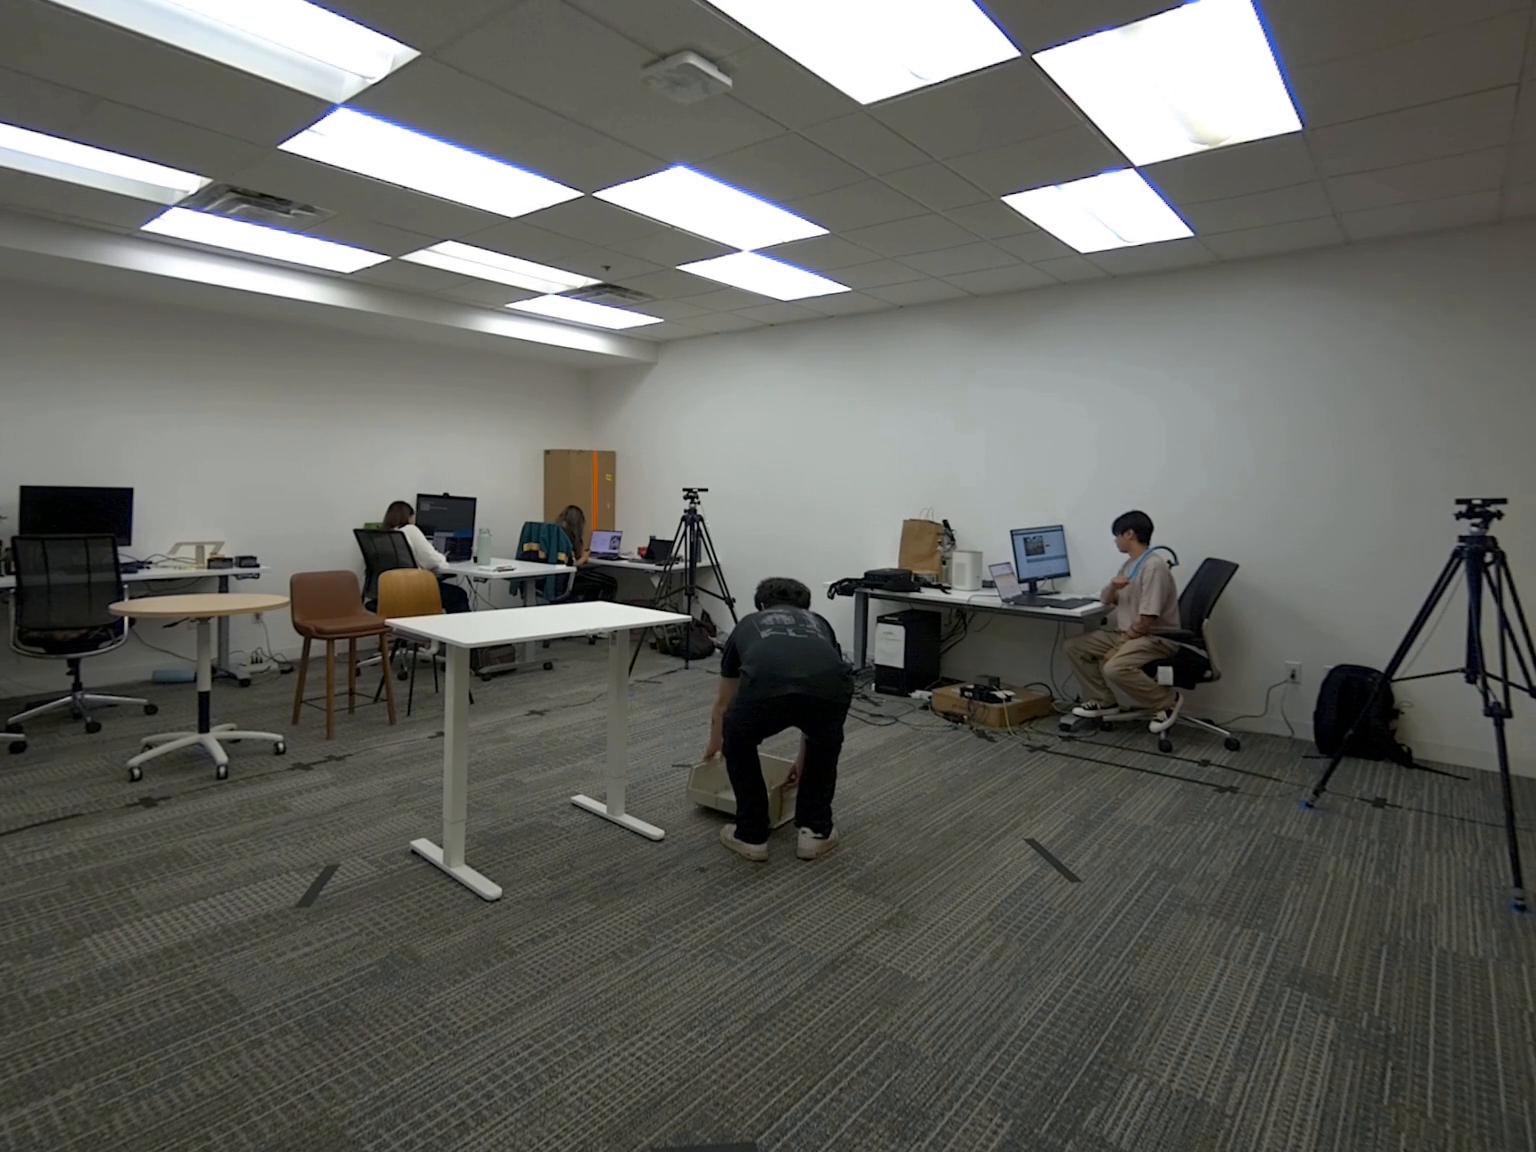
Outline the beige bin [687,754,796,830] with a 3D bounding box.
[{"bbox_3d":[-0.085,0.900,3.675,0.435,0.188,0.367,5,5,32],"label":"beige bin"}]
